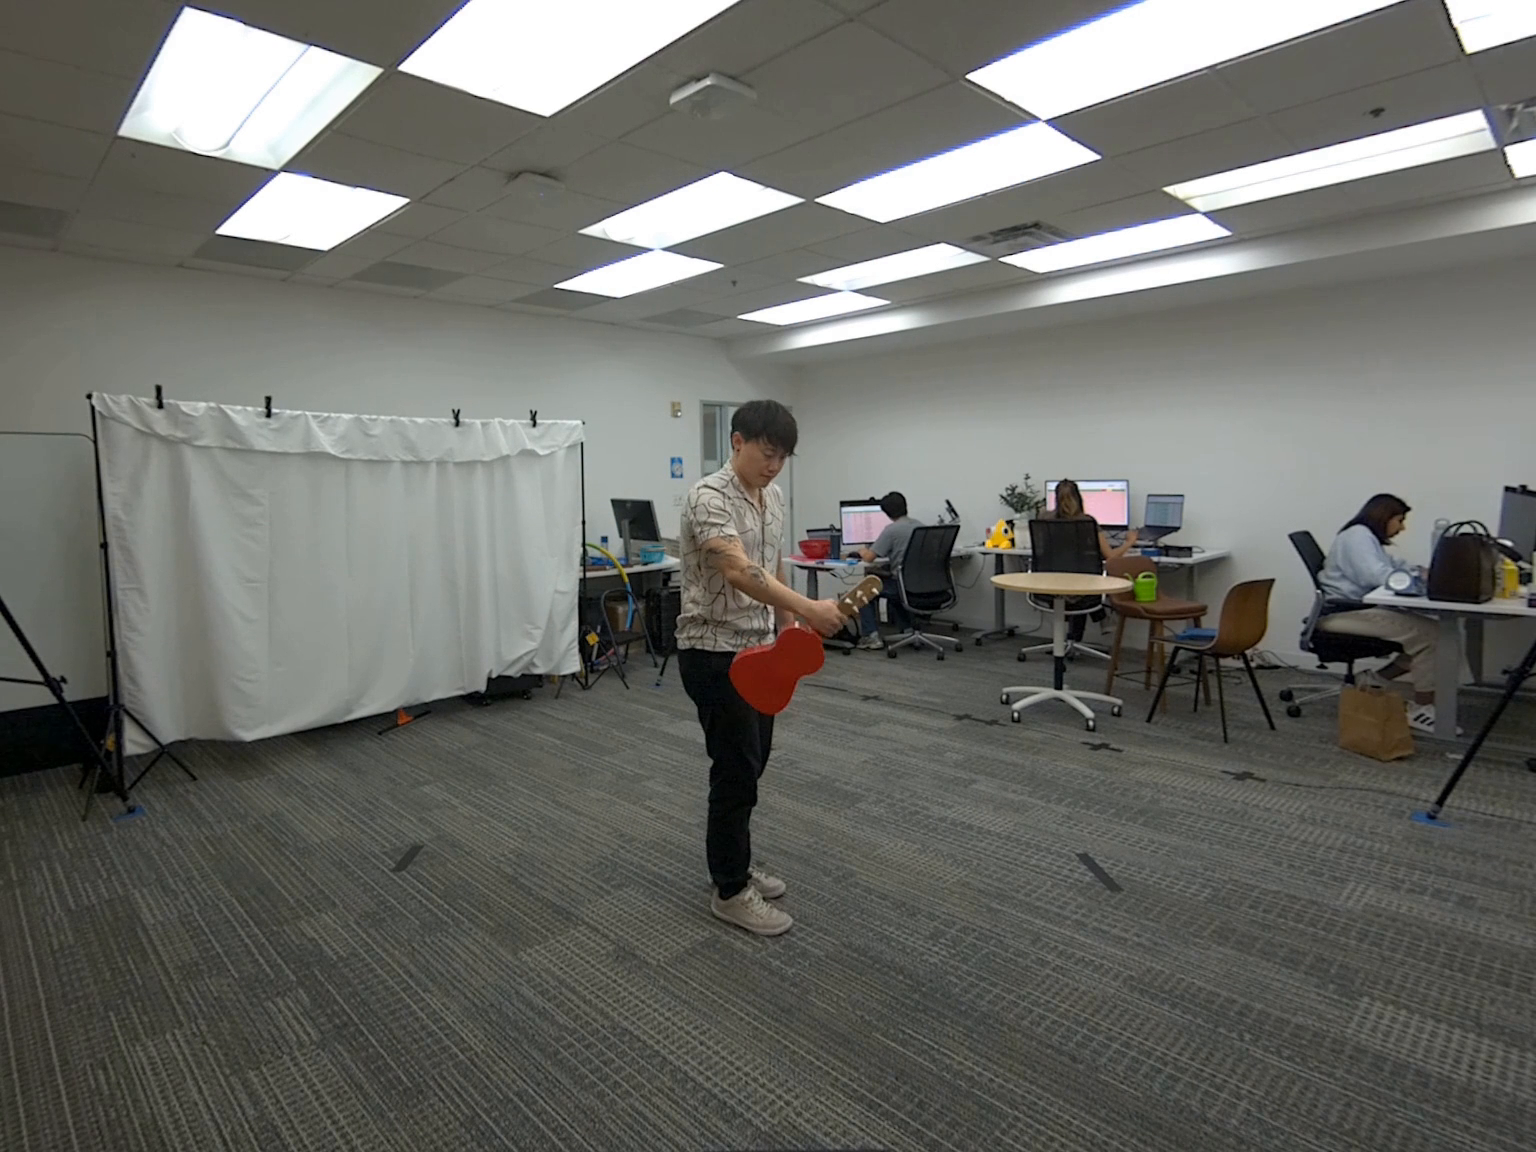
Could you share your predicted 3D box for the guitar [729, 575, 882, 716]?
[{"bbox_3d":[0.111,0.166,2.368,0.192,0.497,0.071,41,12,-3],"label":"guitar"}]
